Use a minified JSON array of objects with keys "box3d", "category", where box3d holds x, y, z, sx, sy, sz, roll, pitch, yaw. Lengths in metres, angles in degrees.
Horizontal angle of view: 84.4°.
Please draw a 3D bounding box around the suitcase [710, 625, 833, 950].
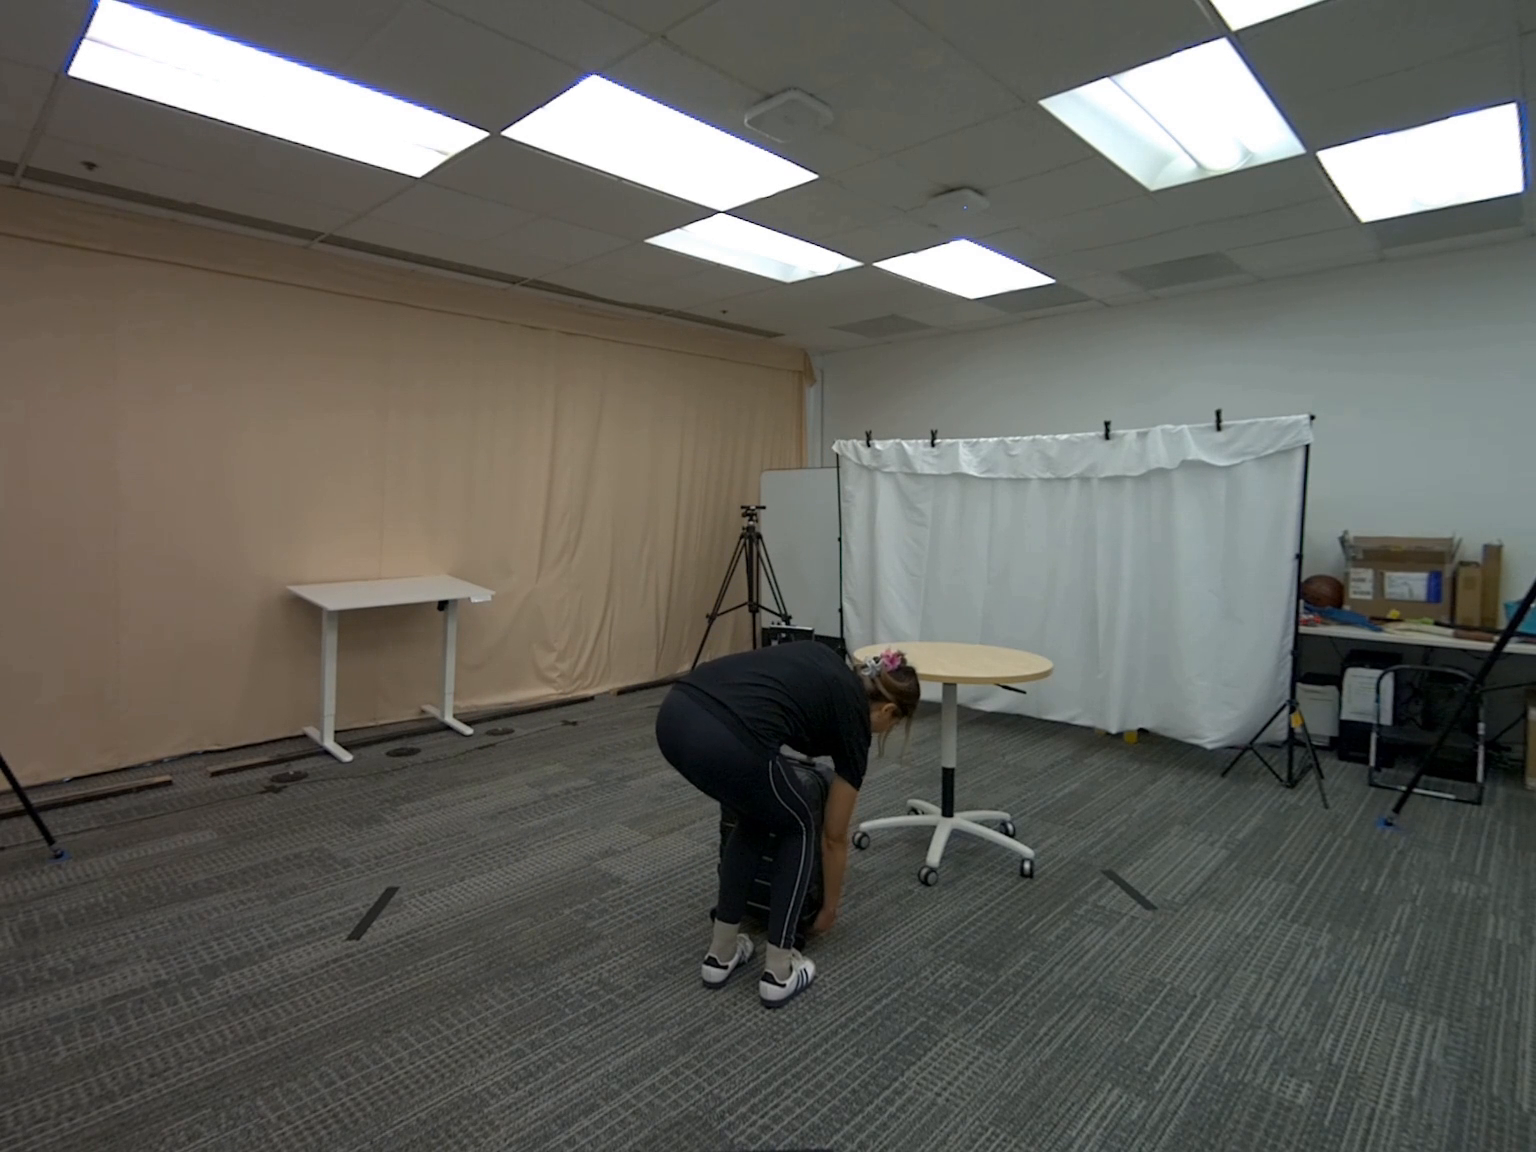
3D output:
[{"box3d":[0.038,0.679,2.786,0.395,0.976,0.250,2,4,30],"category":"suitcase"}]
